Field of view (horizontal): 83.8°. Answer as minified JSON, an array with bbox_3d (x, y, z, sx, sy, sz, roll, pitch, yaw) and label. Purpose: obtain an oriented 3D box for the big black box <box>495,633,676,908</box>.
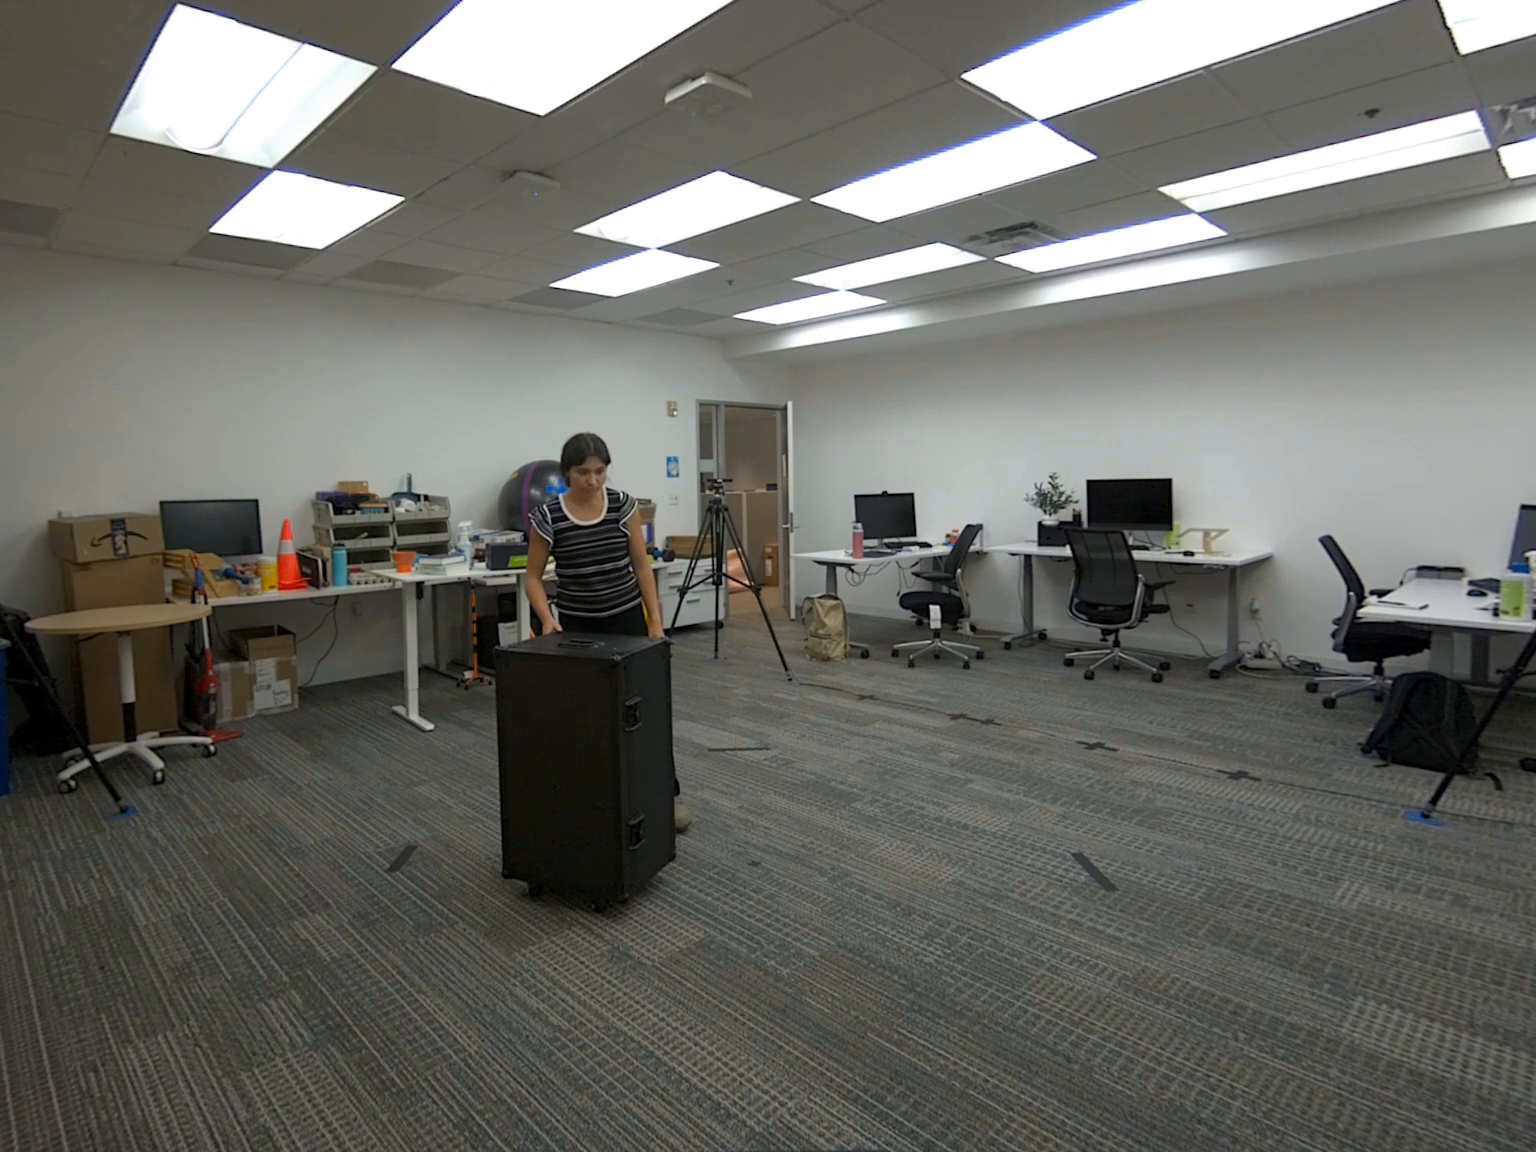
[{"bbox_3d":[-0.615,0.655,2.930,0.532,0.859,0.389,0,4,23],"label":"big black box"}]
